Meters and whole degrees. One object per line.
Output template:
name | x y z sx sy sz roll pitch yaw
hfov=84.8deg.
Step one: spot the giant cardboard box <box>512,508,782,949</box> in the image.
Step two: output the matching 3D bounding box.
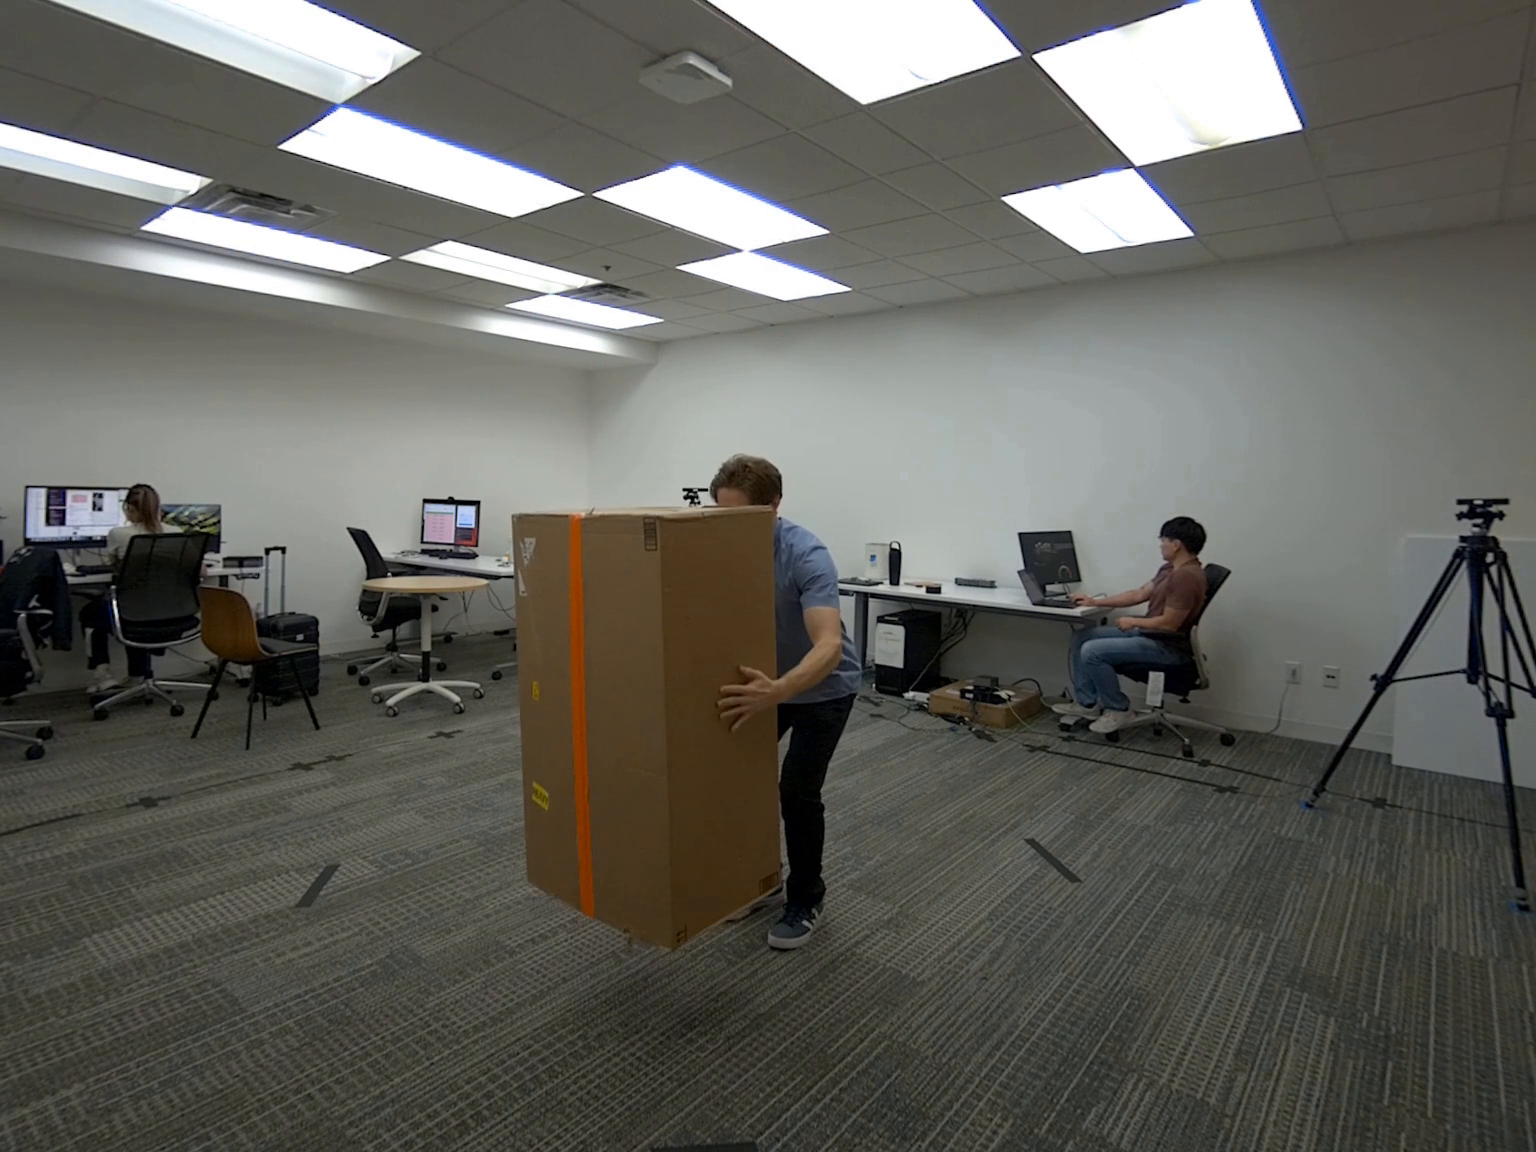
giant cardboard box | -0.336 0.333 2.276 0.596 1.022 0.414 2 5 41
